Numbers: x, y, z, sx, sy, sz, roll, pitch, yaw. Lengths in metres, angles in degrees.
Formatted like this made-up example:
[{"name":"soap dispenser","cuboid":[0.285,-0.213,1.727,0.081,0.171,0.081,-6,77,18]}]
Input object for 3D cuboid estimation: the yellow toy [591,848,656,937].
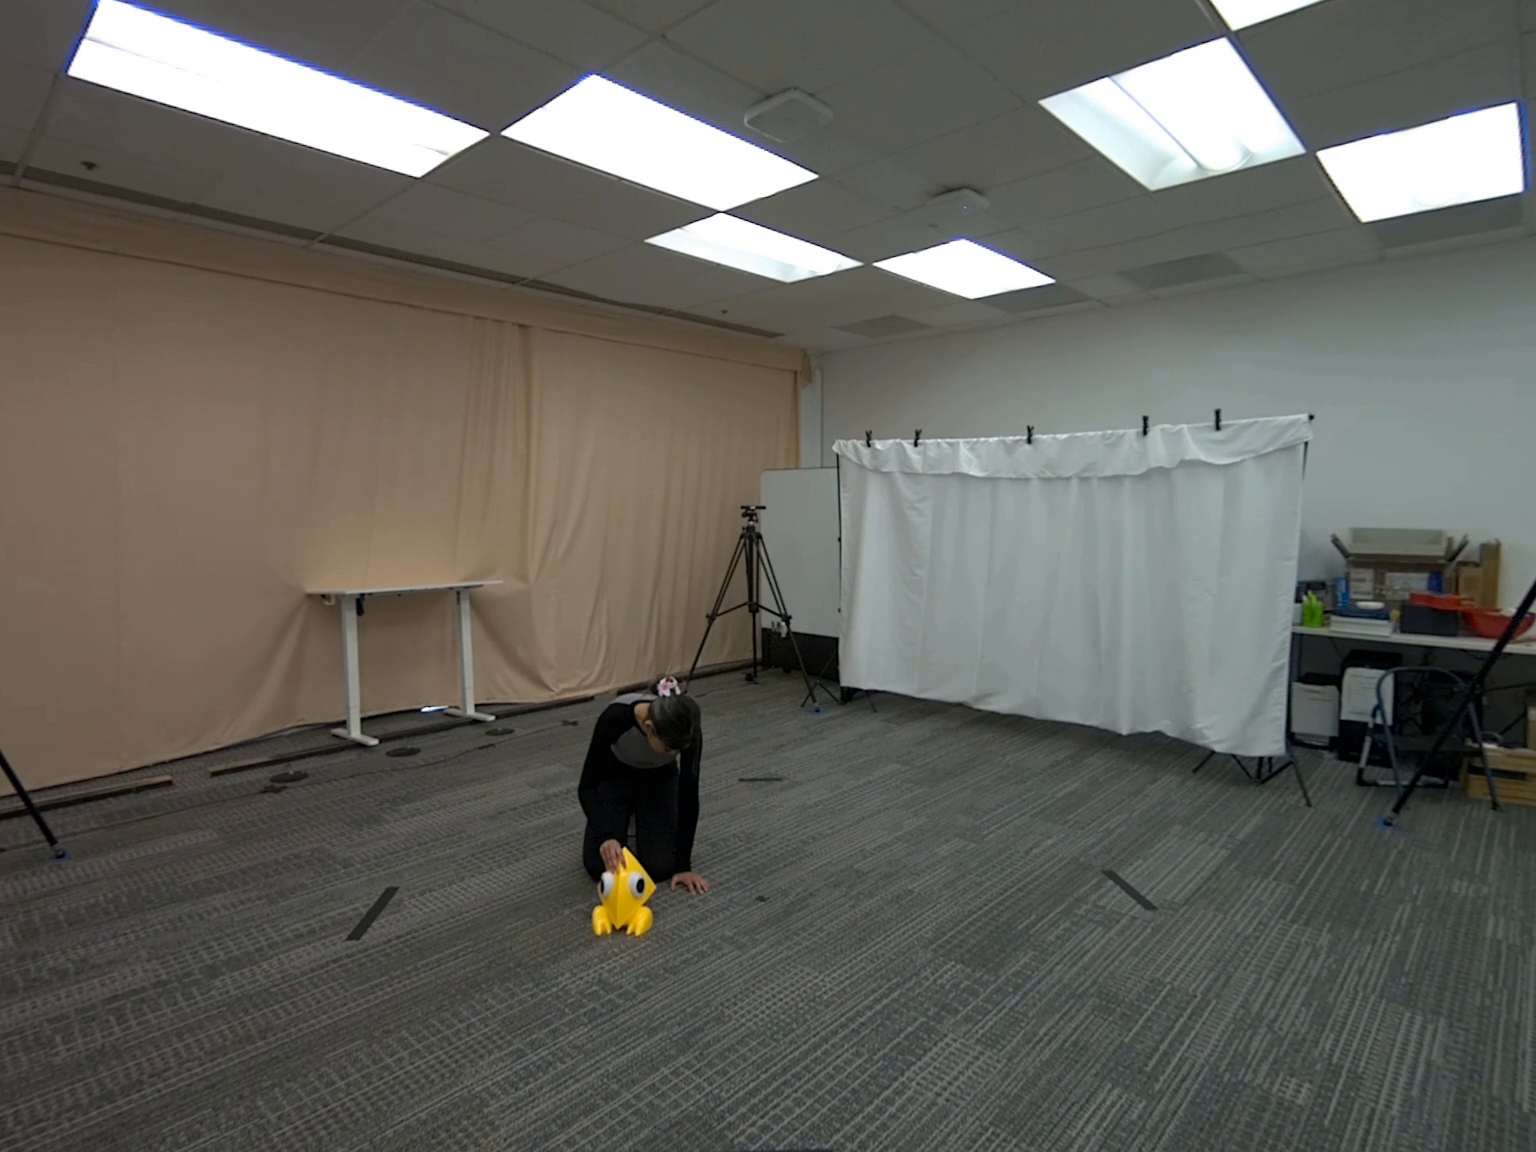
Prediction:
[{"name":"yellow toy","cuboid":[-0.487,1.042,2.817,0.205,0.230,0.193,0,3,2]}]
